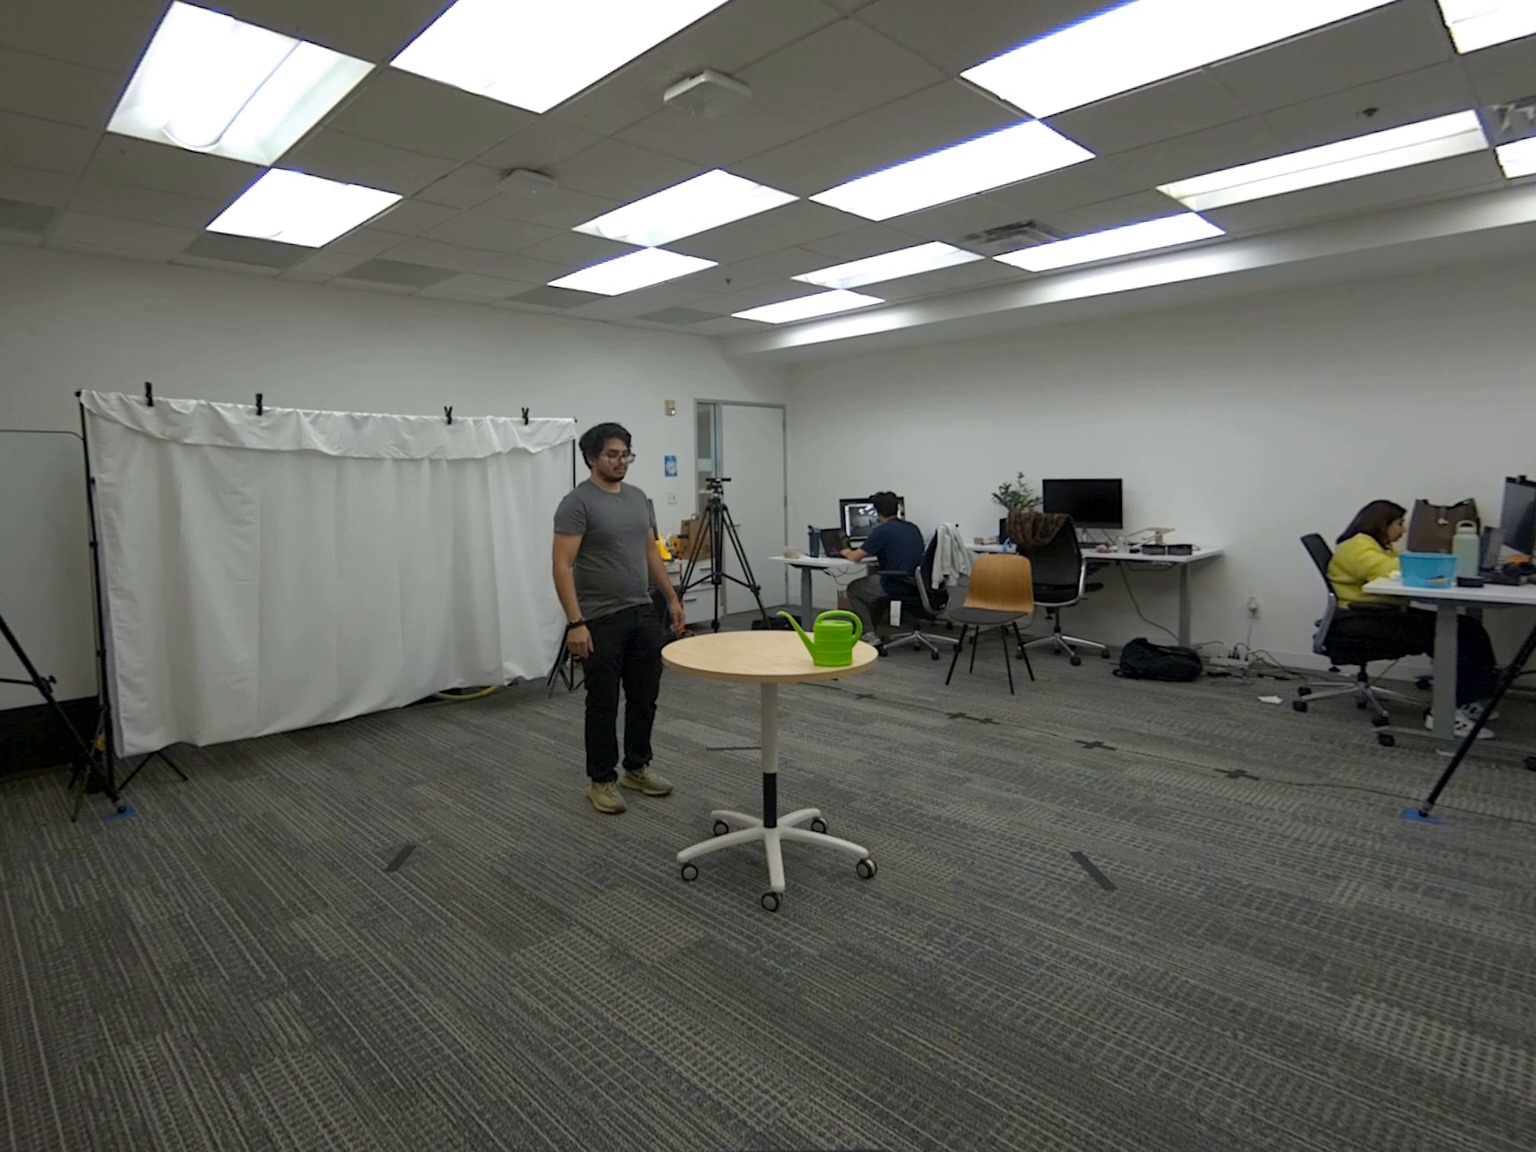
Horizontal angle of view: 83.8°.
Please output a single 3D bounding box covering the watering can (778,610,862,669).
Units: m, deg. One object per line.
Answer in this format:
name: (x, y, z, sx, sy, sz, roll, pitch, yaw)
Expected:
watering can: (0.177, 0.204, 2.818, 0.280, 0.176, 0.098, 1, 5, 5)
